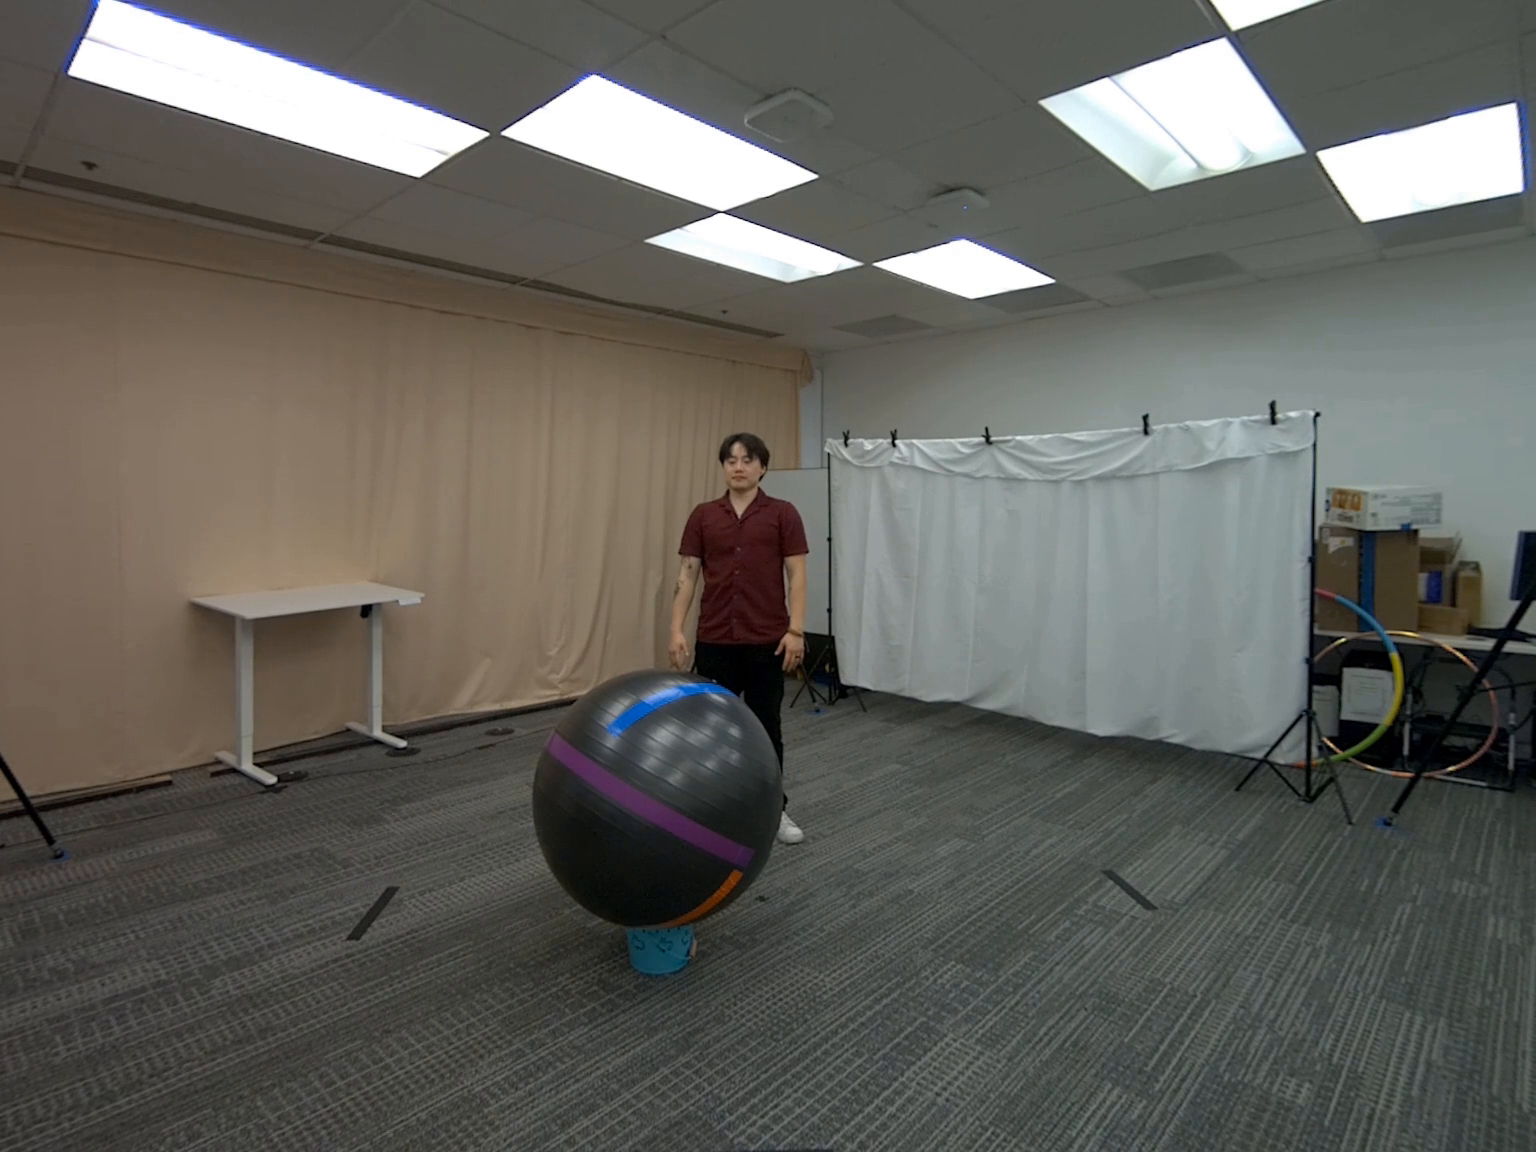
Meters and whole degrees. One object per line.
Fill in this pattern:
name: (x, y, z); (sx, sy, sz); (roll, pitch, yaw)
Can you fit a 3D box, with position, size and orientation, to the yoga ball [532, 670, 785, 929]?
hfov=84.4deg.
yoga ball: (-0.342, 0.671, 2.579); (0.757, 0.756, 0.760); (0, 4, -2)
